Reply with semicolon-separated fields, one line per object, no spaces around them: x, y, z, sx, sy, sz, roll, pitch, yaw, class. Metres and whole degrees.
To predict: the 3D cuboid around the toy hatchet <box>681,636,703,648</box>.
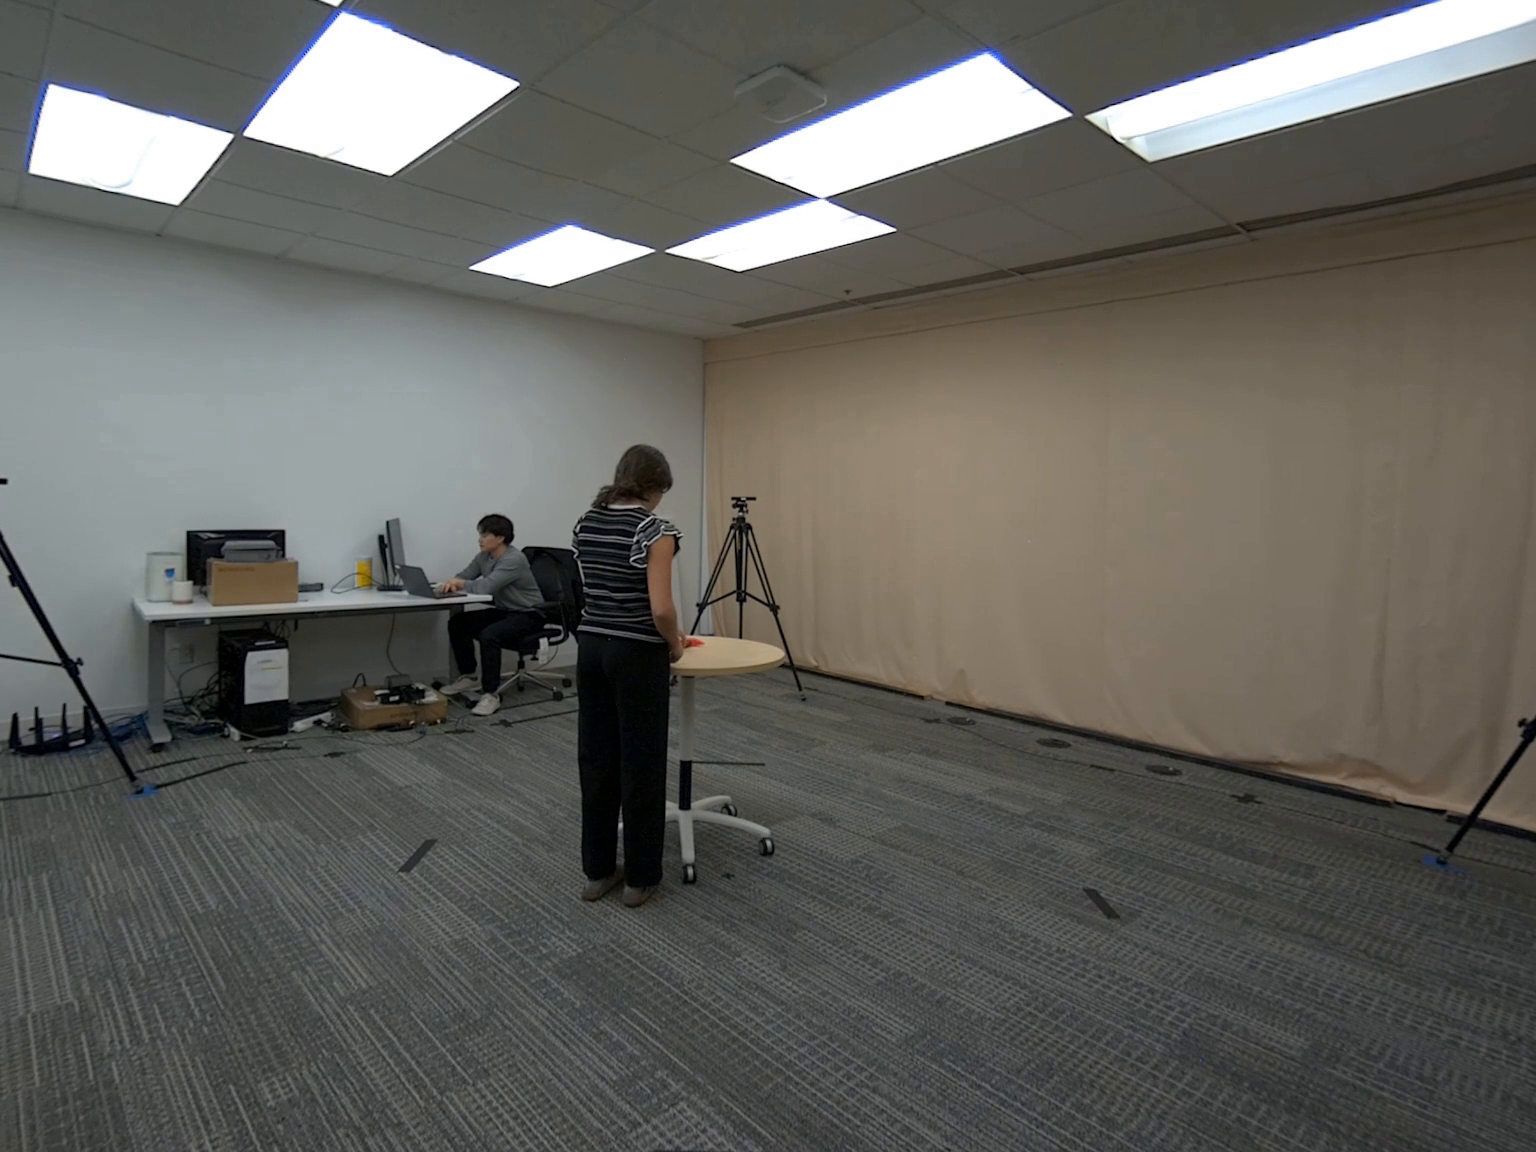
-0.391;0.281;3.386;0.134;0.029;0.264;9;10;39;toy hatchet
